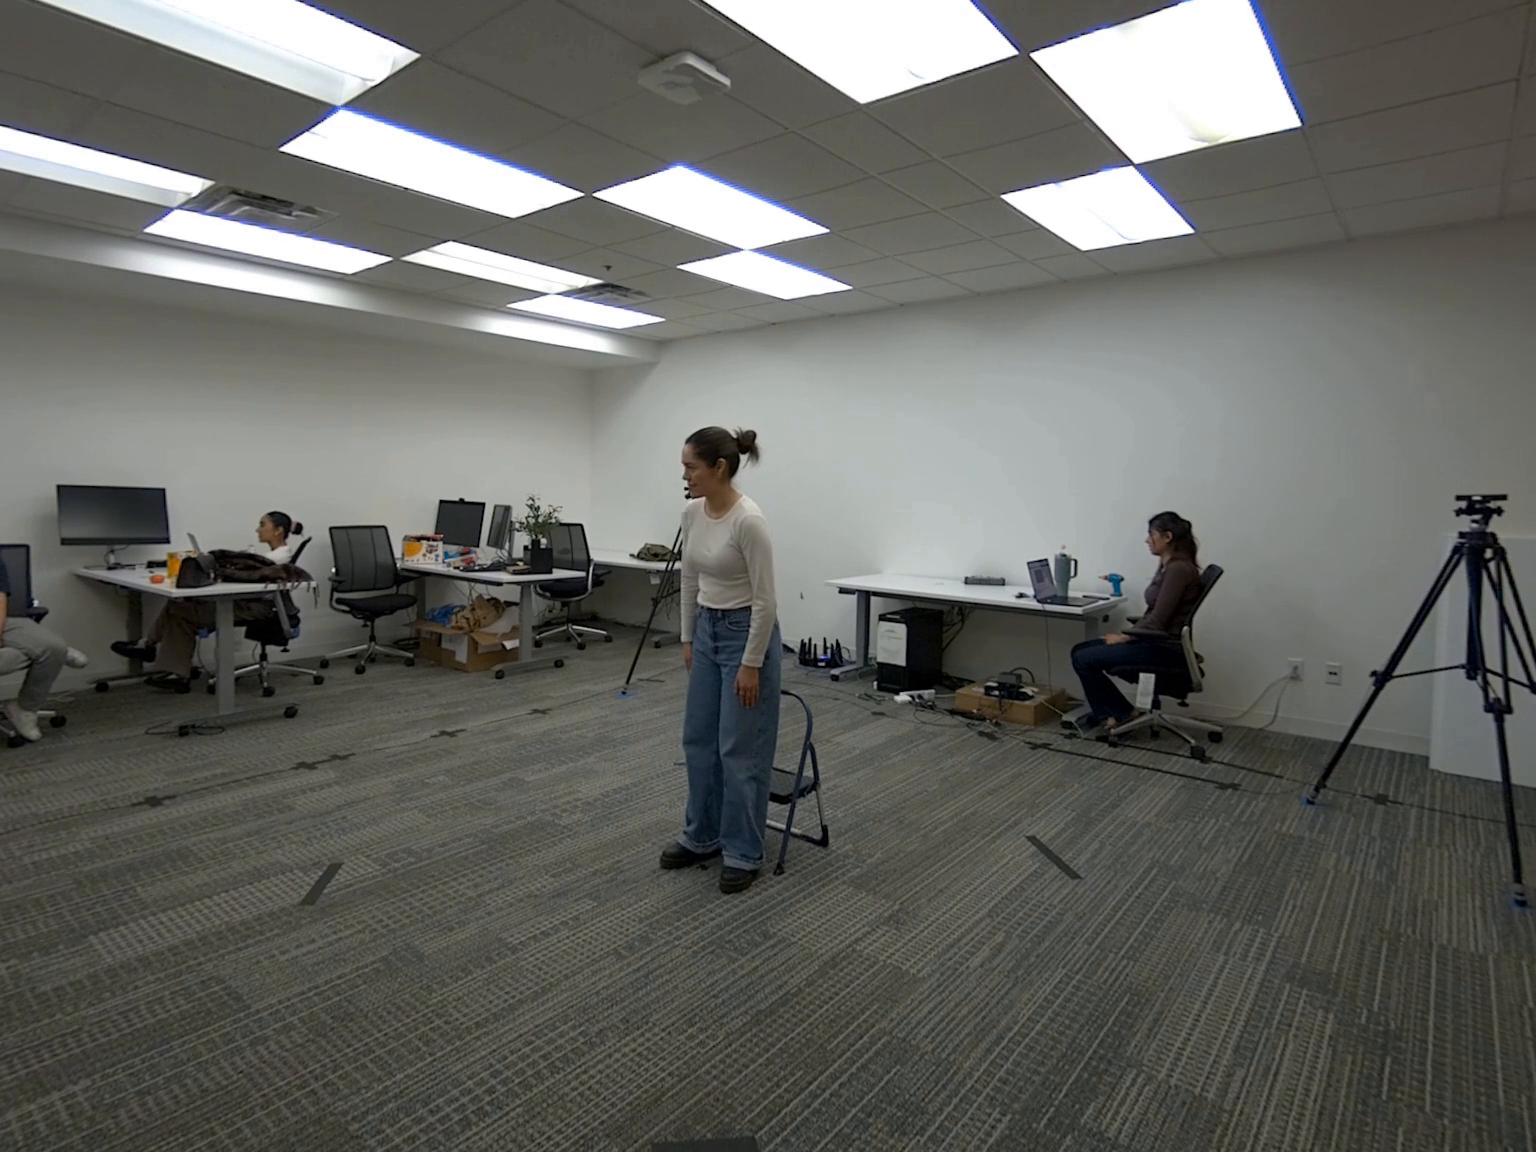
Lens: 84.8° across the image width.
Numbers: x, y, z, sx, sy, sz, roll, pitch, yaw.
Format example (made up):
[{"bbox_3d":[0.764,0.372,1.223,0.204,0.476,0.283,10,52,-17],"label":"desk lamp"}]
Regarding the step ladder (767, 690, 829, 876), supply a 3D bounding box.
[{"bbox_3d":[-0.022,0.743,3.318,0.445,0.604,0.339,4,5,38],"label":"step ladder"}]
